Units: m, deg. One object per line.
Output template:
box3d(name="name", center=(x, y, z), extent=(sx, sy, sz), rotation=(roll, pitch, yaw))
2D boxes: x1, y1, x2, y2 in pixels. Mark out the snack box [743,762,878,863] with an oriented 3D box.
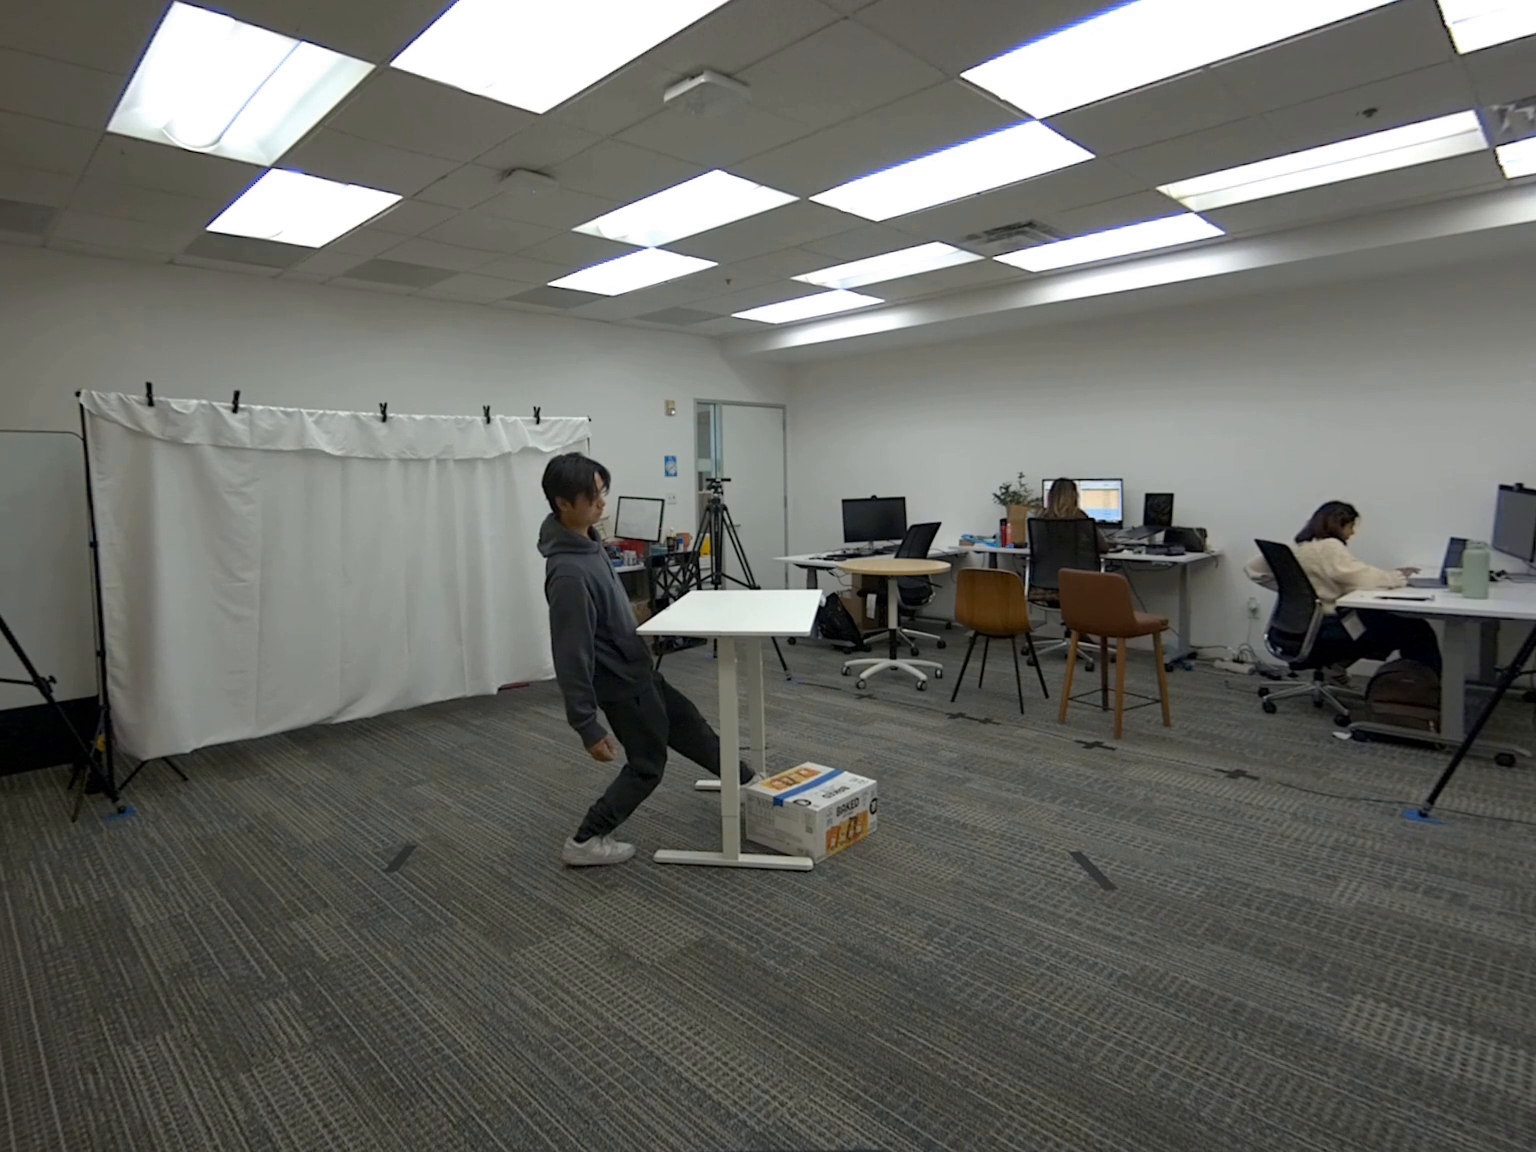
box3d(name="snack box", center=(0.165, 0.908, 3.331), extent=(0.351, 0.205, 0.395), rotation=(4, 8, 40))
